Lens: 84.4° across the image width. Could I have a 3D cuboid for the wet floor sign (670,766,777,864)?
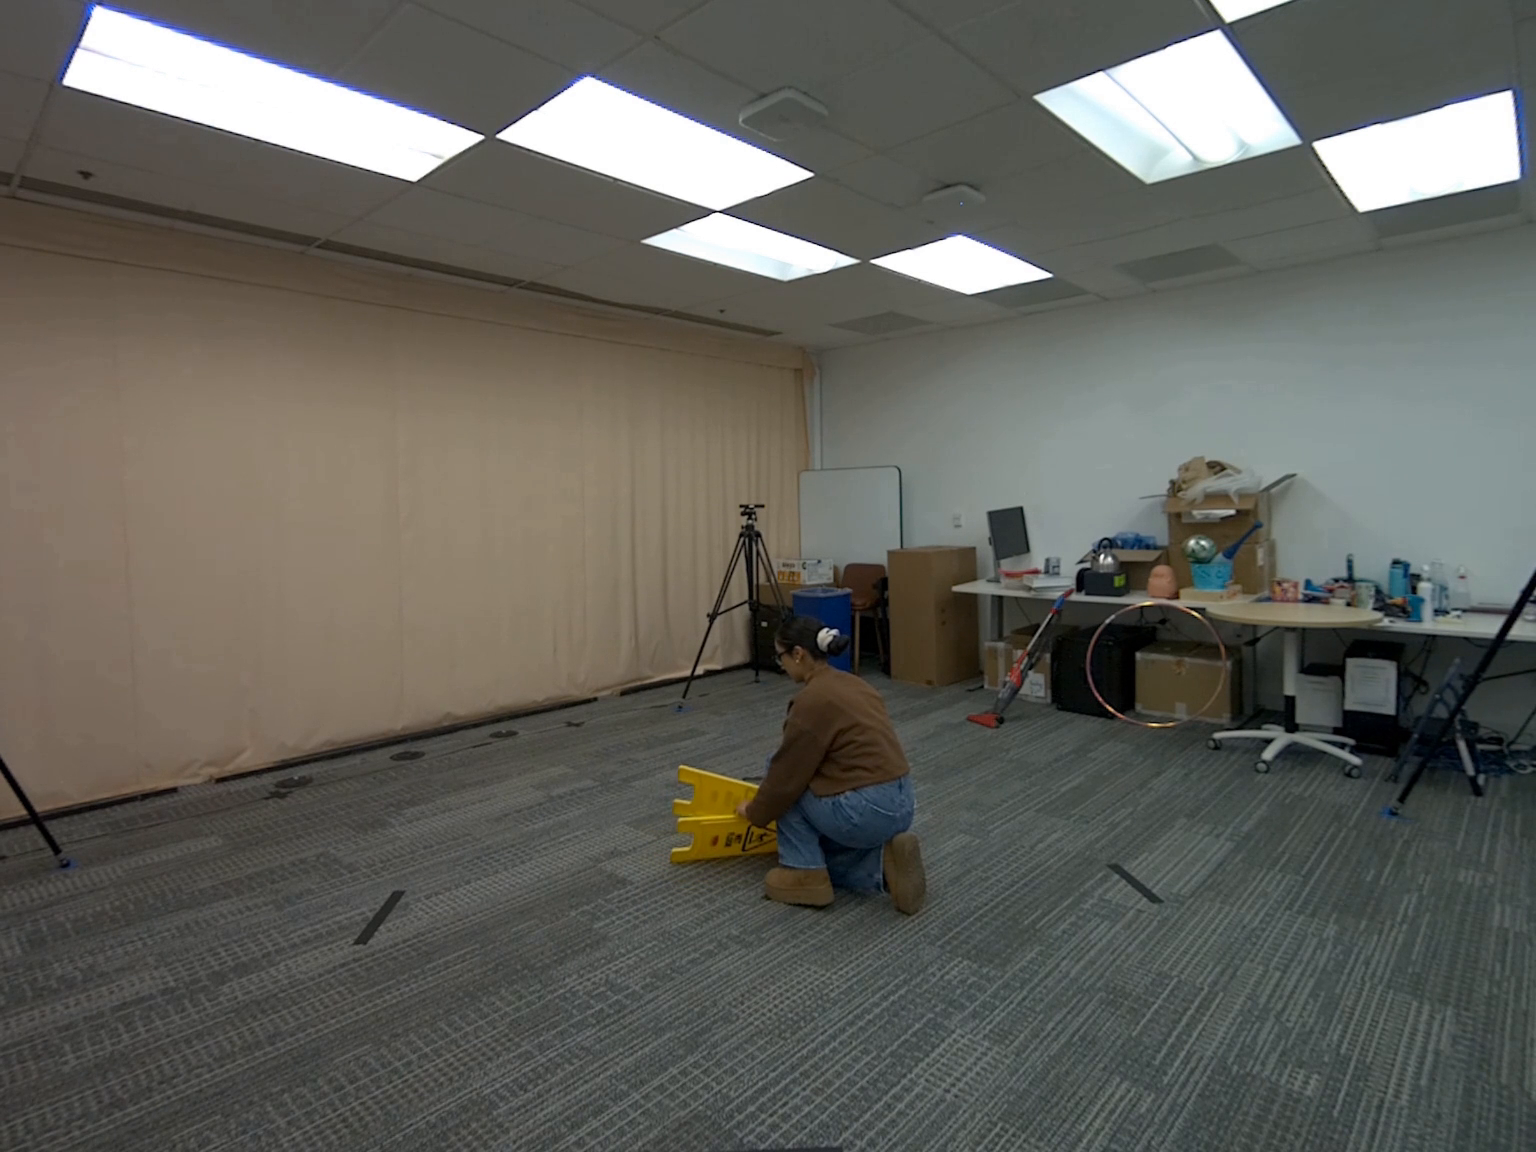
[{"bbox_3d":[-0.046,0.973,3.339,0.642,0.279,0.295,5,34,-6],"label":"wet floor sign"}]
